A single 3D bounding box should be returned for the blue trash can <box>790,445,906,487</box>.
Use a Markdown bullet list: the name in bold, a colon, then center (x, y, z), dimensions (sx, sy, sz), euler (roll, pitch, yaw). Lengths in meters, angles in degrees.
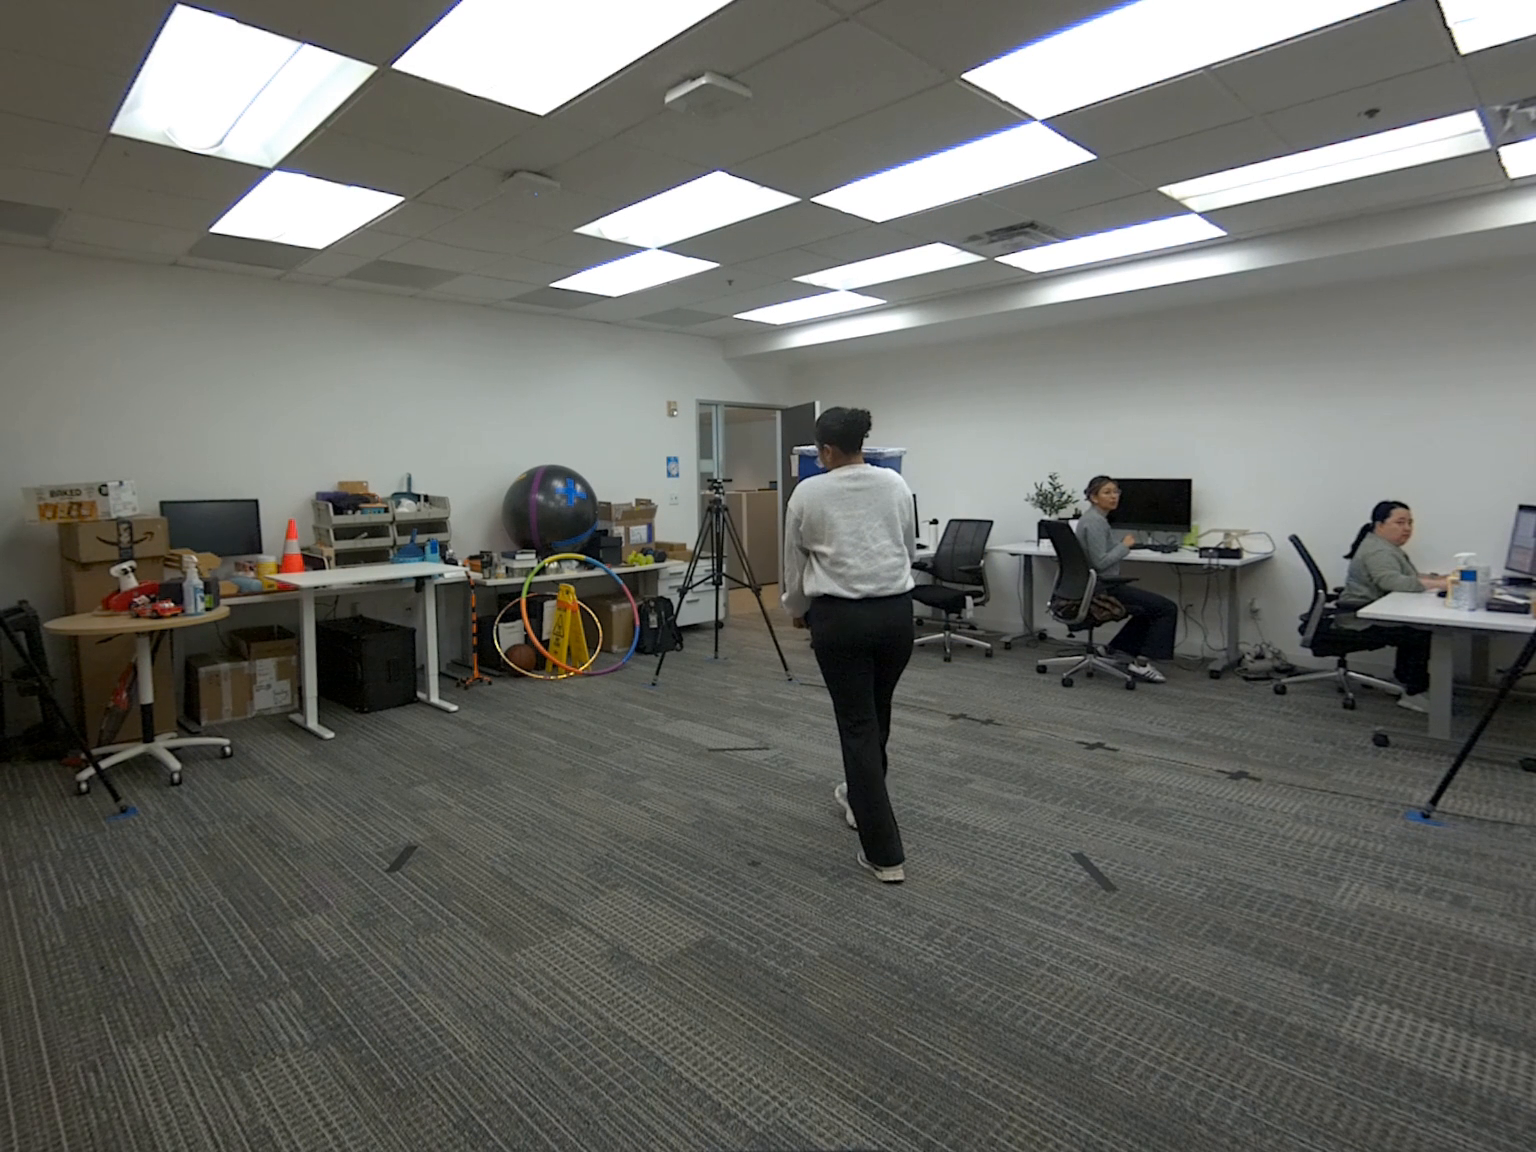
- **blue trash can**: center (0.336, -0.169, 3.467), dimensions (0.383, 0.708, 0.372), euler (5, 9, 24)
